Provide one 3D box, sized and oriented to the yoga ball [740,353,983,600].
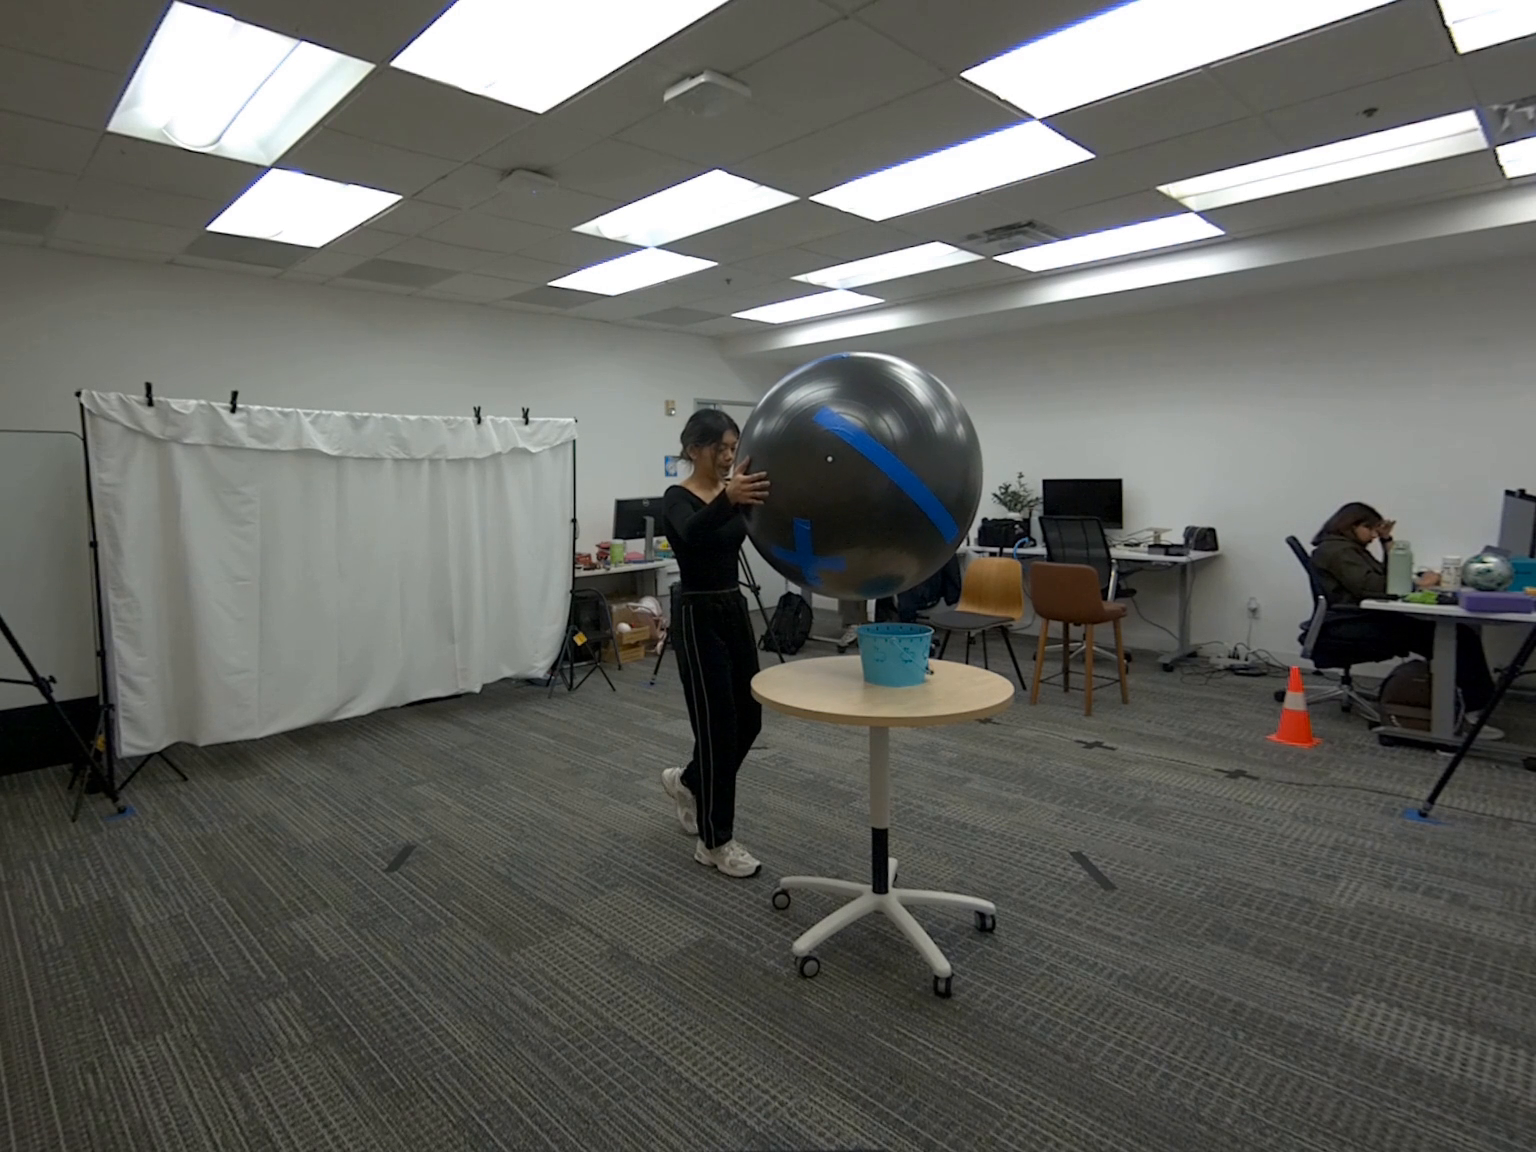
[{"bbox_3d":[0.278,-0.301,2.634,0.757,0.755,0.762,-1,5,-2],"label":"yoga ball"}]
